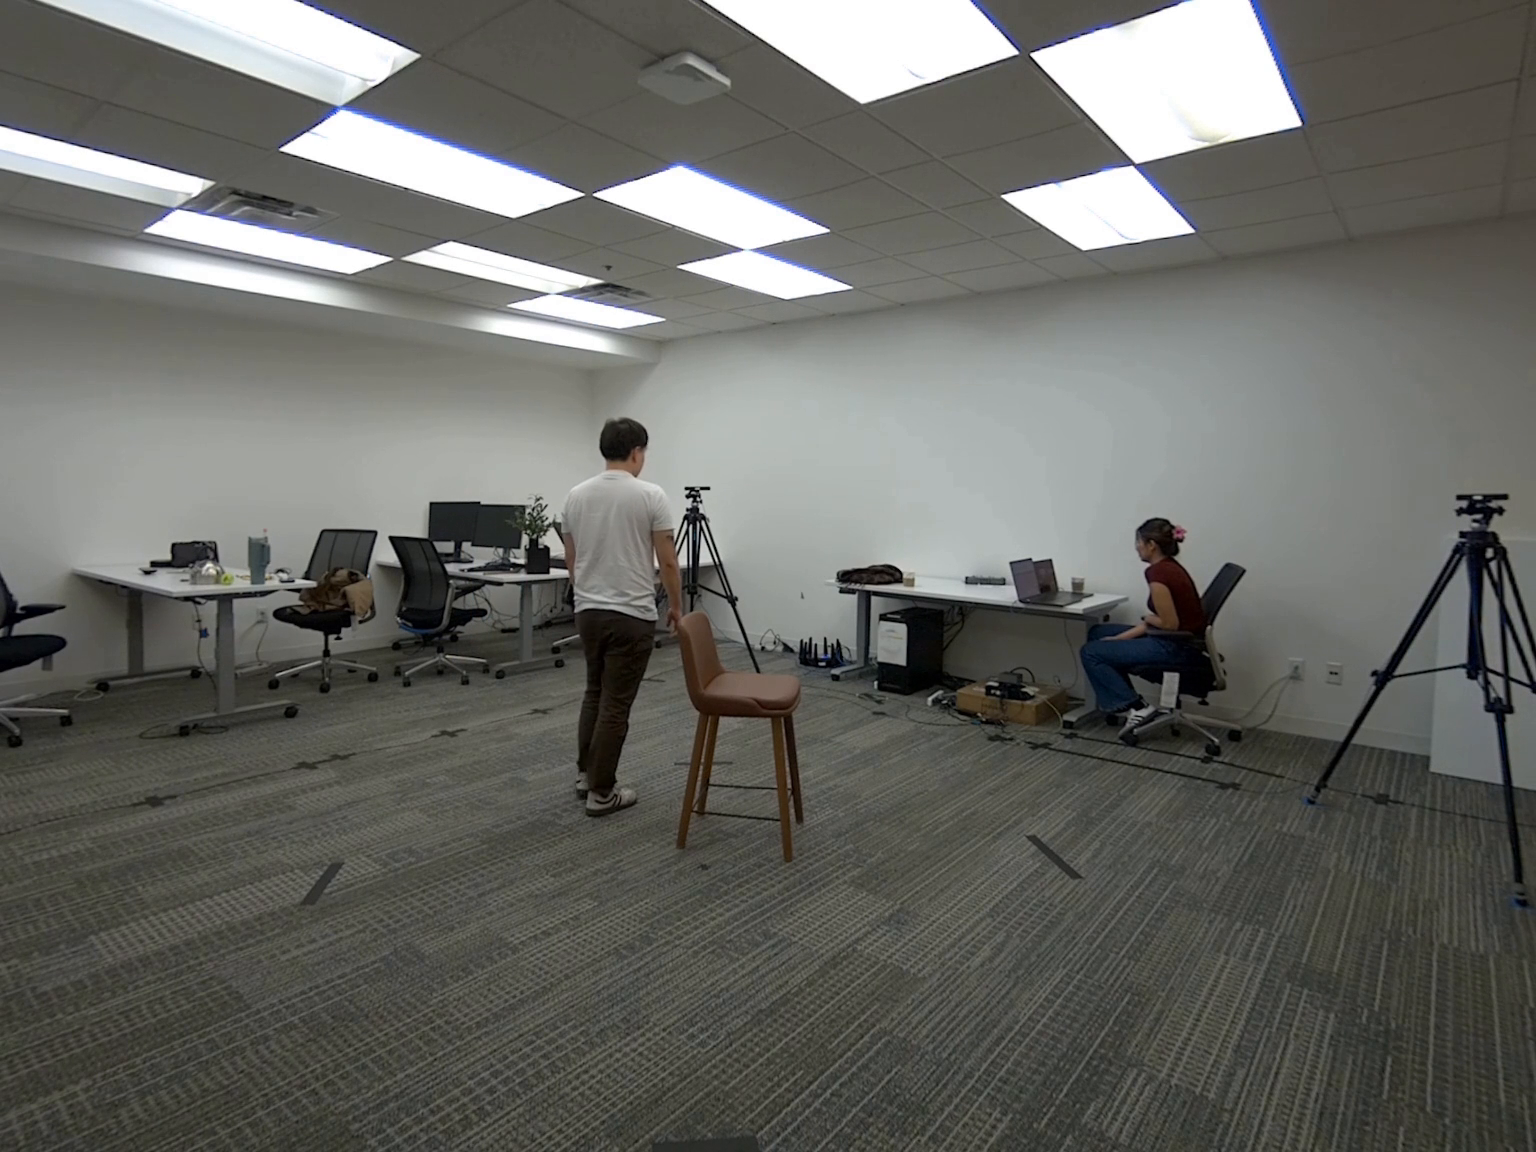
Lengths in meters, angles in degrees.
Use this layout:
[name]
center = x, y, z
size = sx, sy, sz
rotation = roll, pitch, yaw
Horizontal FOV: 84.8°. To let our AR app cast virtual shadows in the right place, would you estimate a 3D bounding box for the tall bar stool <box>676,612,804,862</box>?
[tall bar stool]
center = -0.111, 0.604, 3.396
size = 0.474, 0.888, 0.451
rotation = 0, 2, 12
